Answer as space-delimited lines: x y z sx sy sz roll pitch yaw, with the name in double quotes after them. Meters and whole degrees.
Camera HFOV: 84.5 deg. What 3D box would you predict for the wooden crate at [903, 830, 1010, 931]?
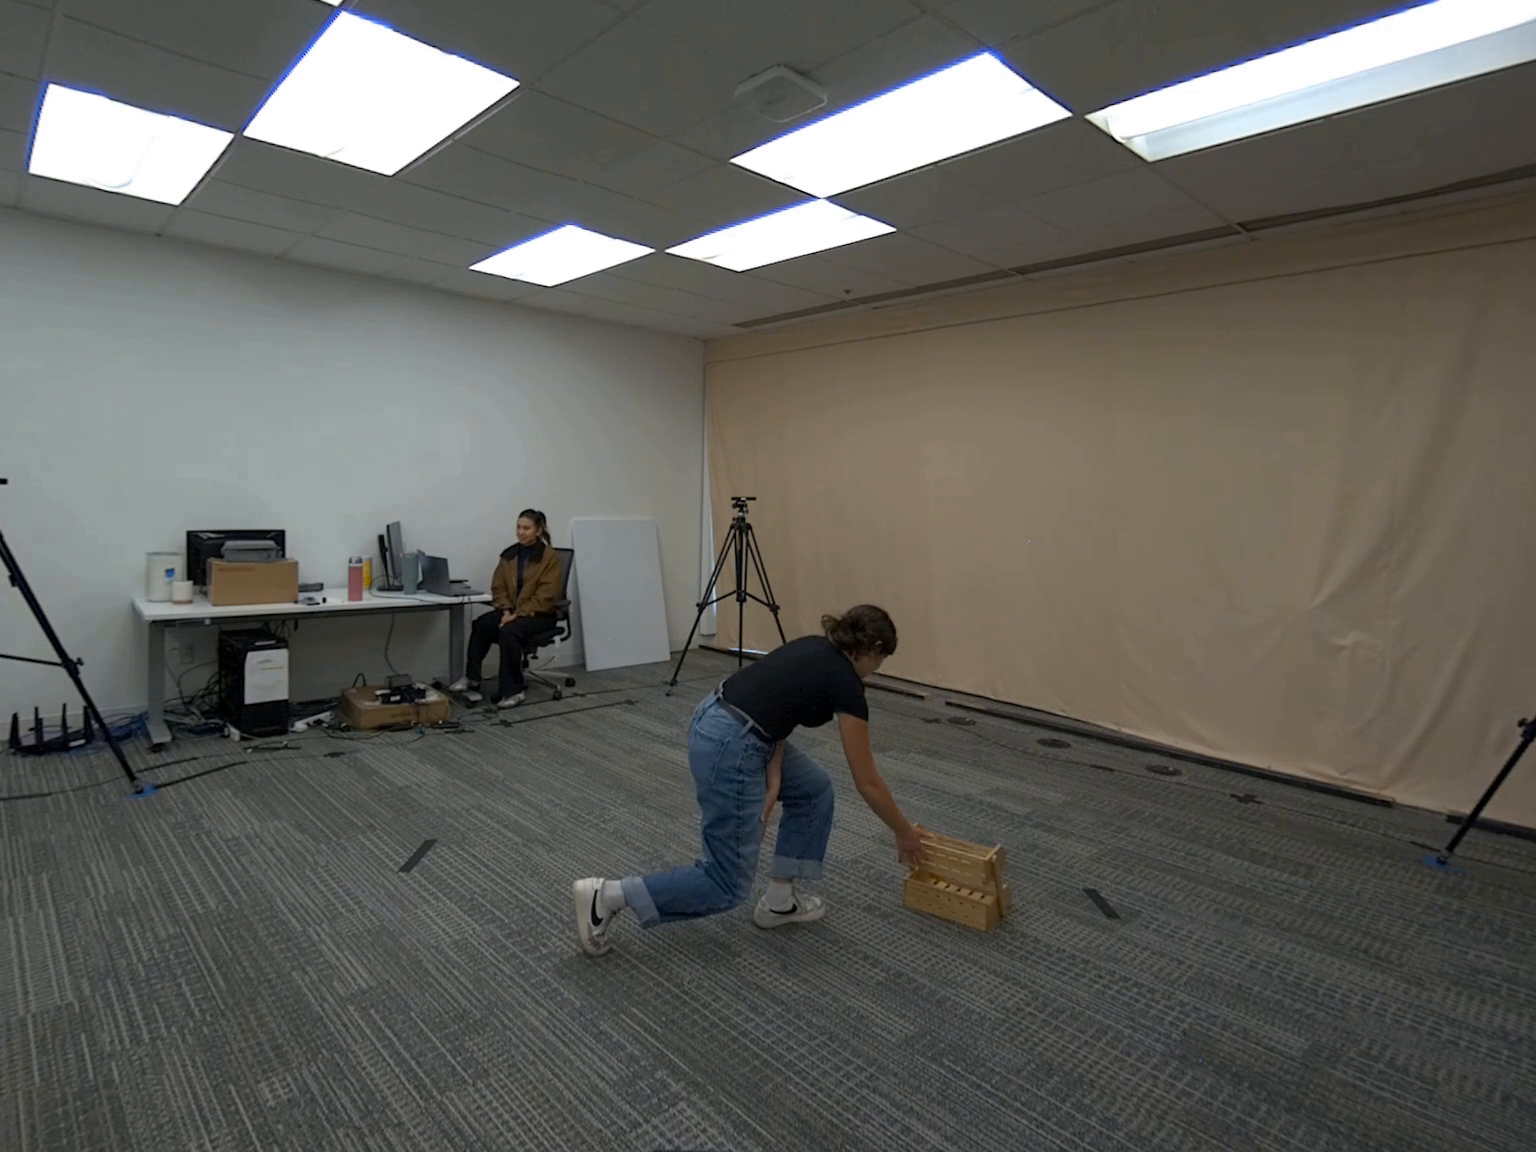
0.643 1.010 2.901 0.332 0.272 0.296 4 5 34 "wooden crate"
